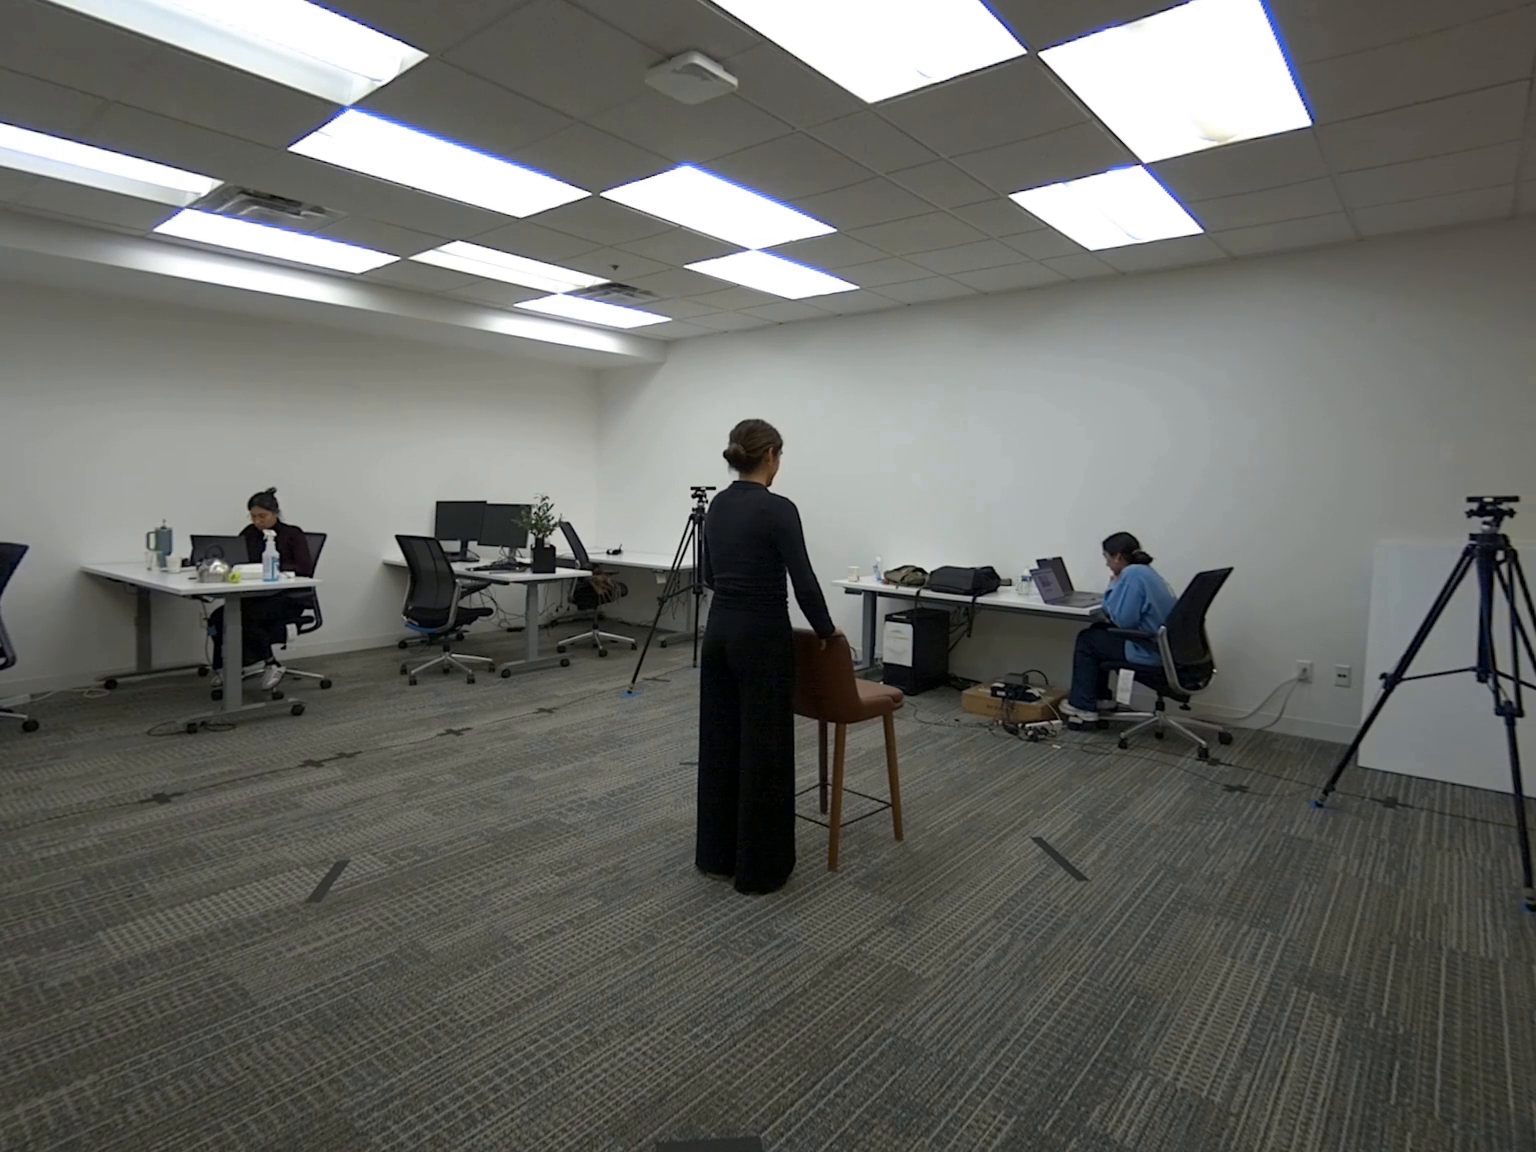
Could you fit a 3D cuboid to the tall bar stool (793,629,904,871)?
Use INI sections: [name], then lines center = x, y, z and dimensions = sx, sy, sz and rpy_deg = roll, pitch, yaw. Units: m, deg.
[tall bar stool]
center = 0.238, 0.609, 3.357
dimensions = 0.472, 0.886, 0.454
rpy_deg = 4, 6, 43
